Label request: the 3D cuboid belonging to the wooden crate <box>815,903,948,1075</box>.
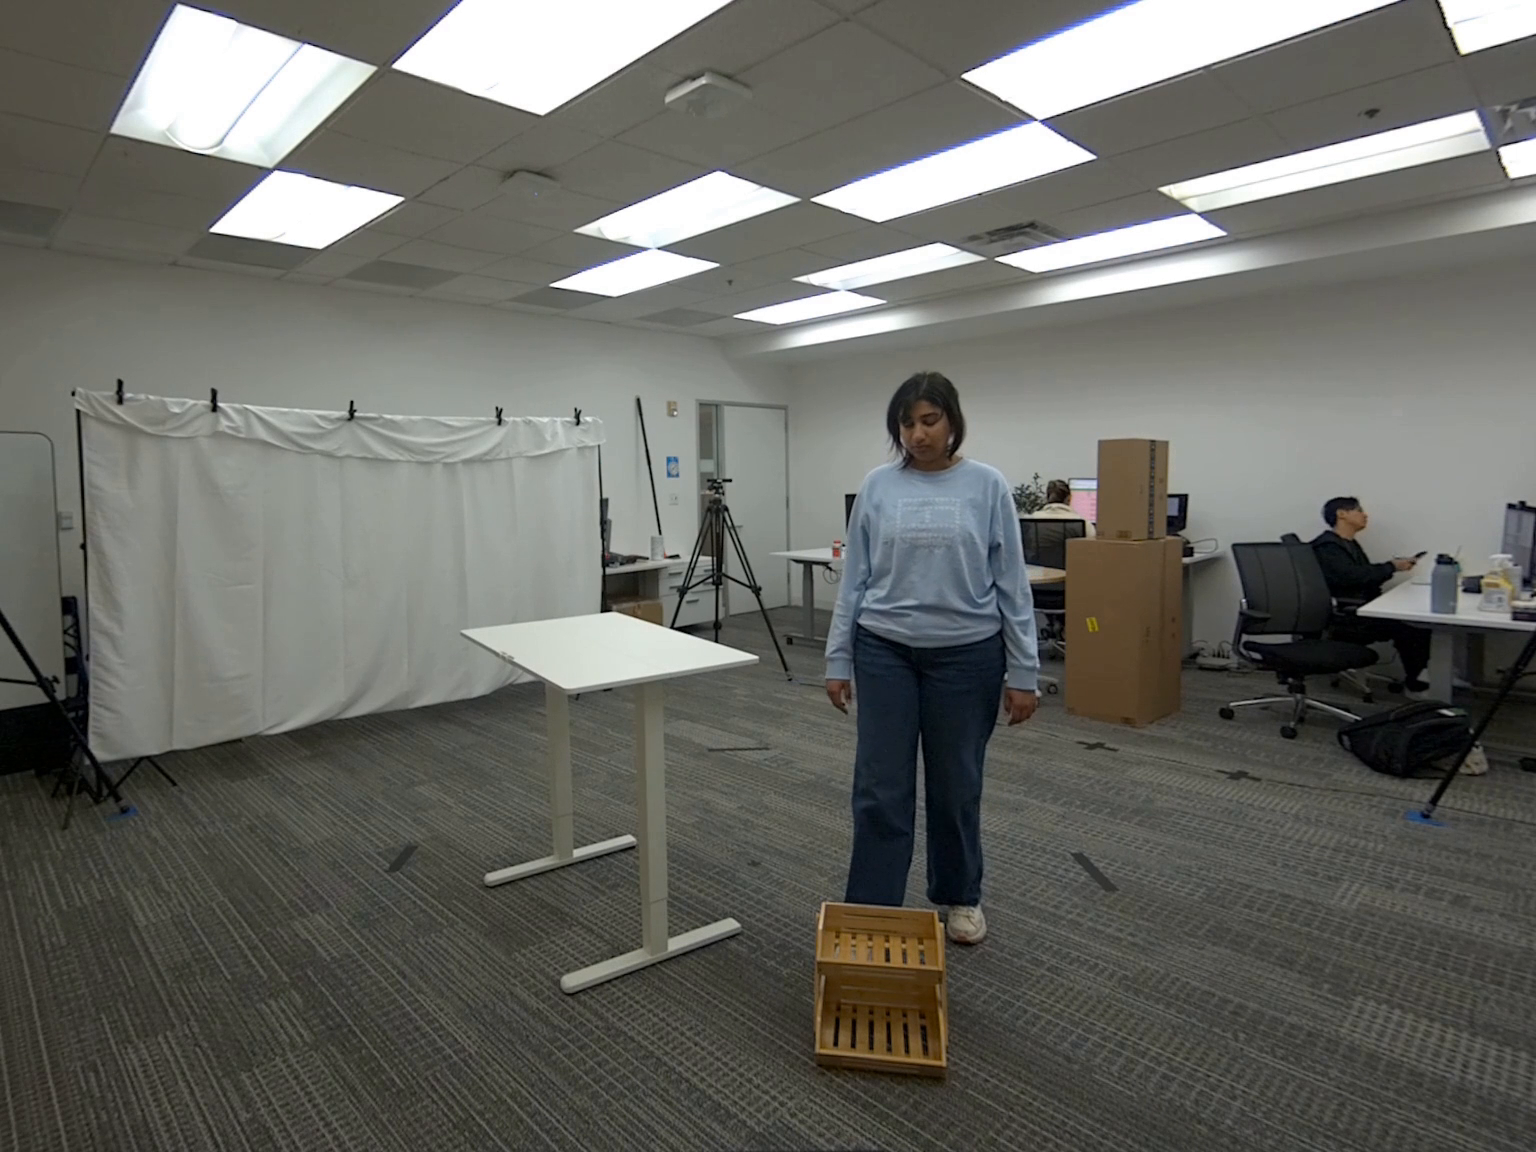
[{"bbox_3d":[0.289,1.029,2.110,0.327,0.272,0.300,0,5,9],"label":"wooden crate"}]
